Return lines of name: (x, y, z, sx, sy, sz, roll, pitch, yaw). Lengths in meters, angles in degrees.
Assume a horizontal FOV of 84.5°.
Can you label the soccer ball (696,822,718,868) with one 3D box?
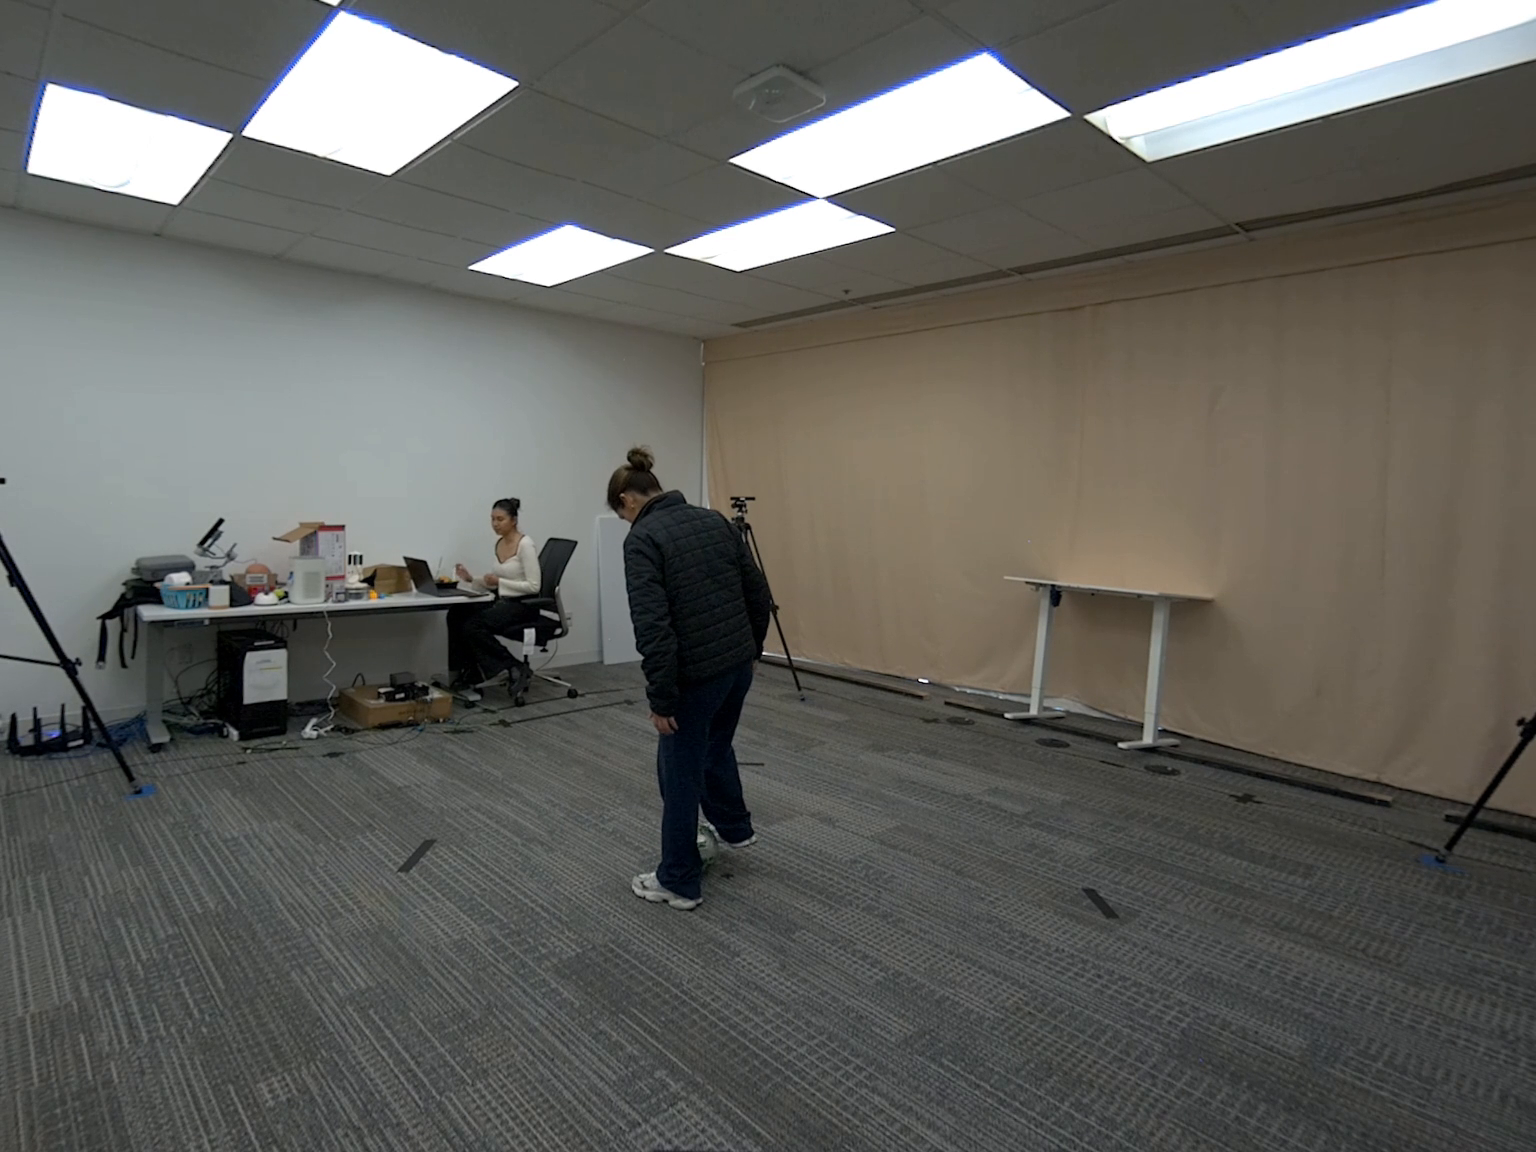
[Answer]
soccer ball: (-0.271, 1.009, 3.116, 0.187, 0.187, 0.188, 1, 4, -1)
